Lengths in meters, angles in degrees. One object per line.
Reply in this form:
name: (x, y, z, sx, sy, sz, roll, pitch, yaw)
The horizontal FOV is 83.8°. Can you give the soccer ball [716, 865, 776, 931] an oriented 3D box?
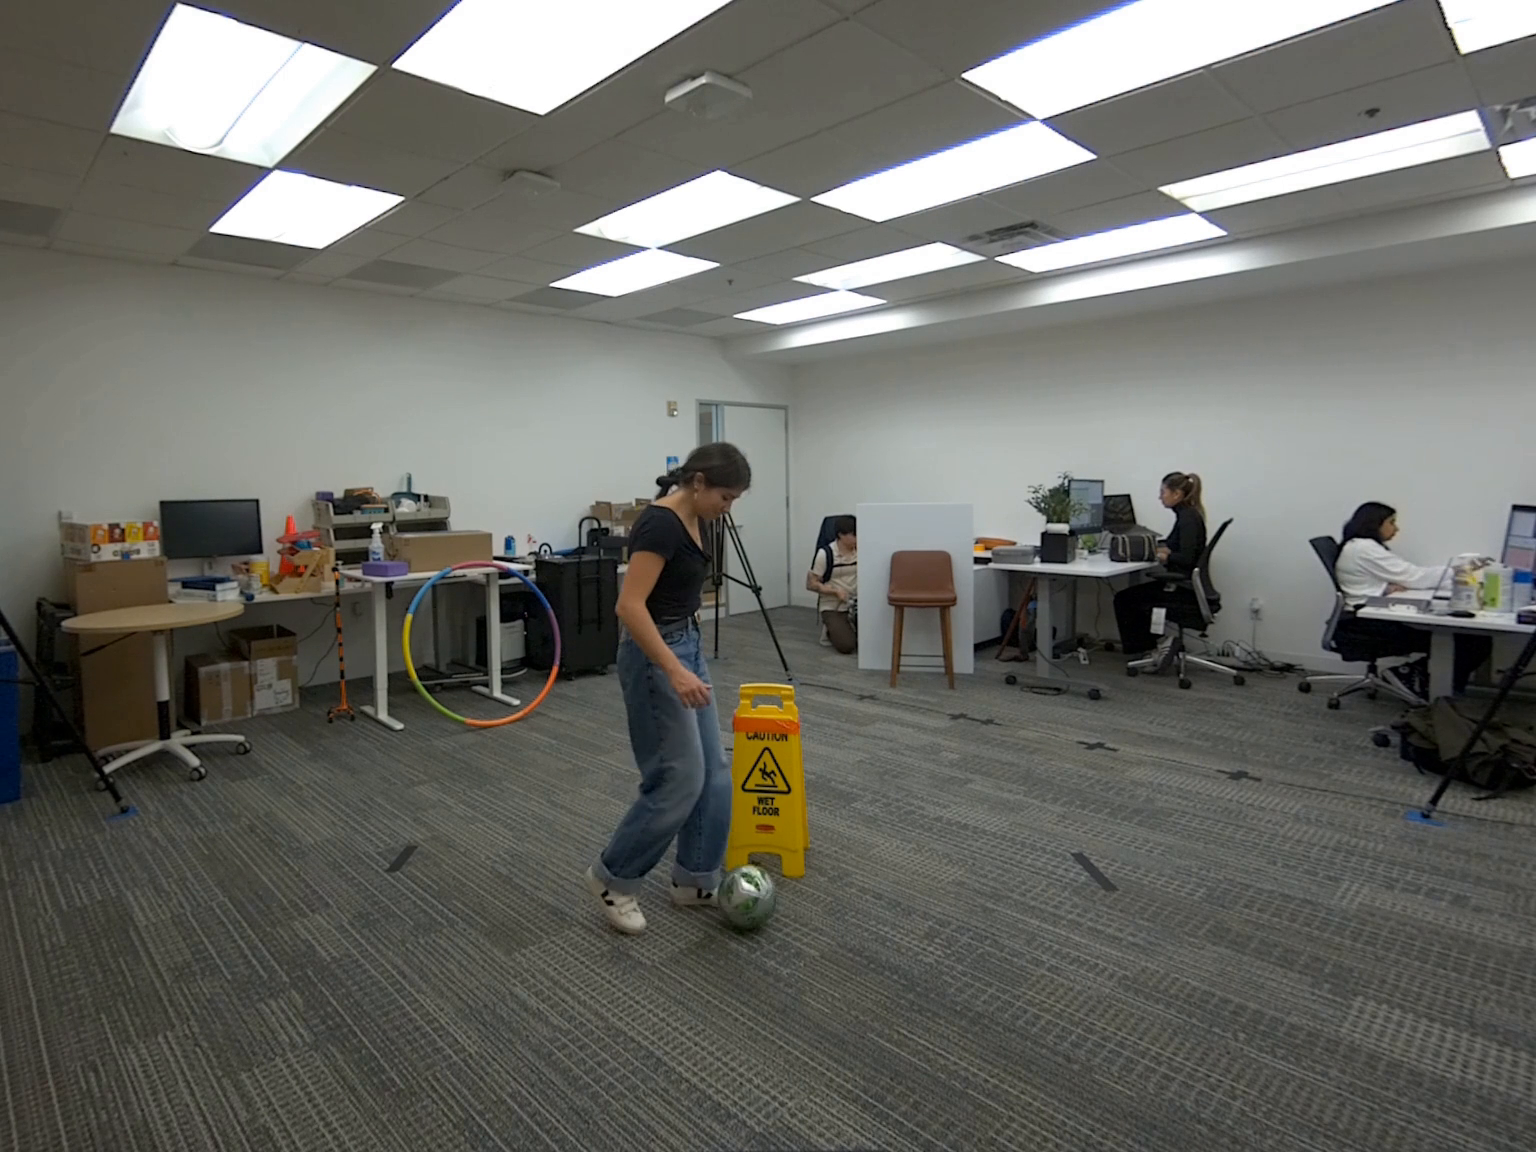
soccer ball: (-0.070, 1.004, 2.672, 0.187, 0.187, 0.188, -1, 5, -2)
